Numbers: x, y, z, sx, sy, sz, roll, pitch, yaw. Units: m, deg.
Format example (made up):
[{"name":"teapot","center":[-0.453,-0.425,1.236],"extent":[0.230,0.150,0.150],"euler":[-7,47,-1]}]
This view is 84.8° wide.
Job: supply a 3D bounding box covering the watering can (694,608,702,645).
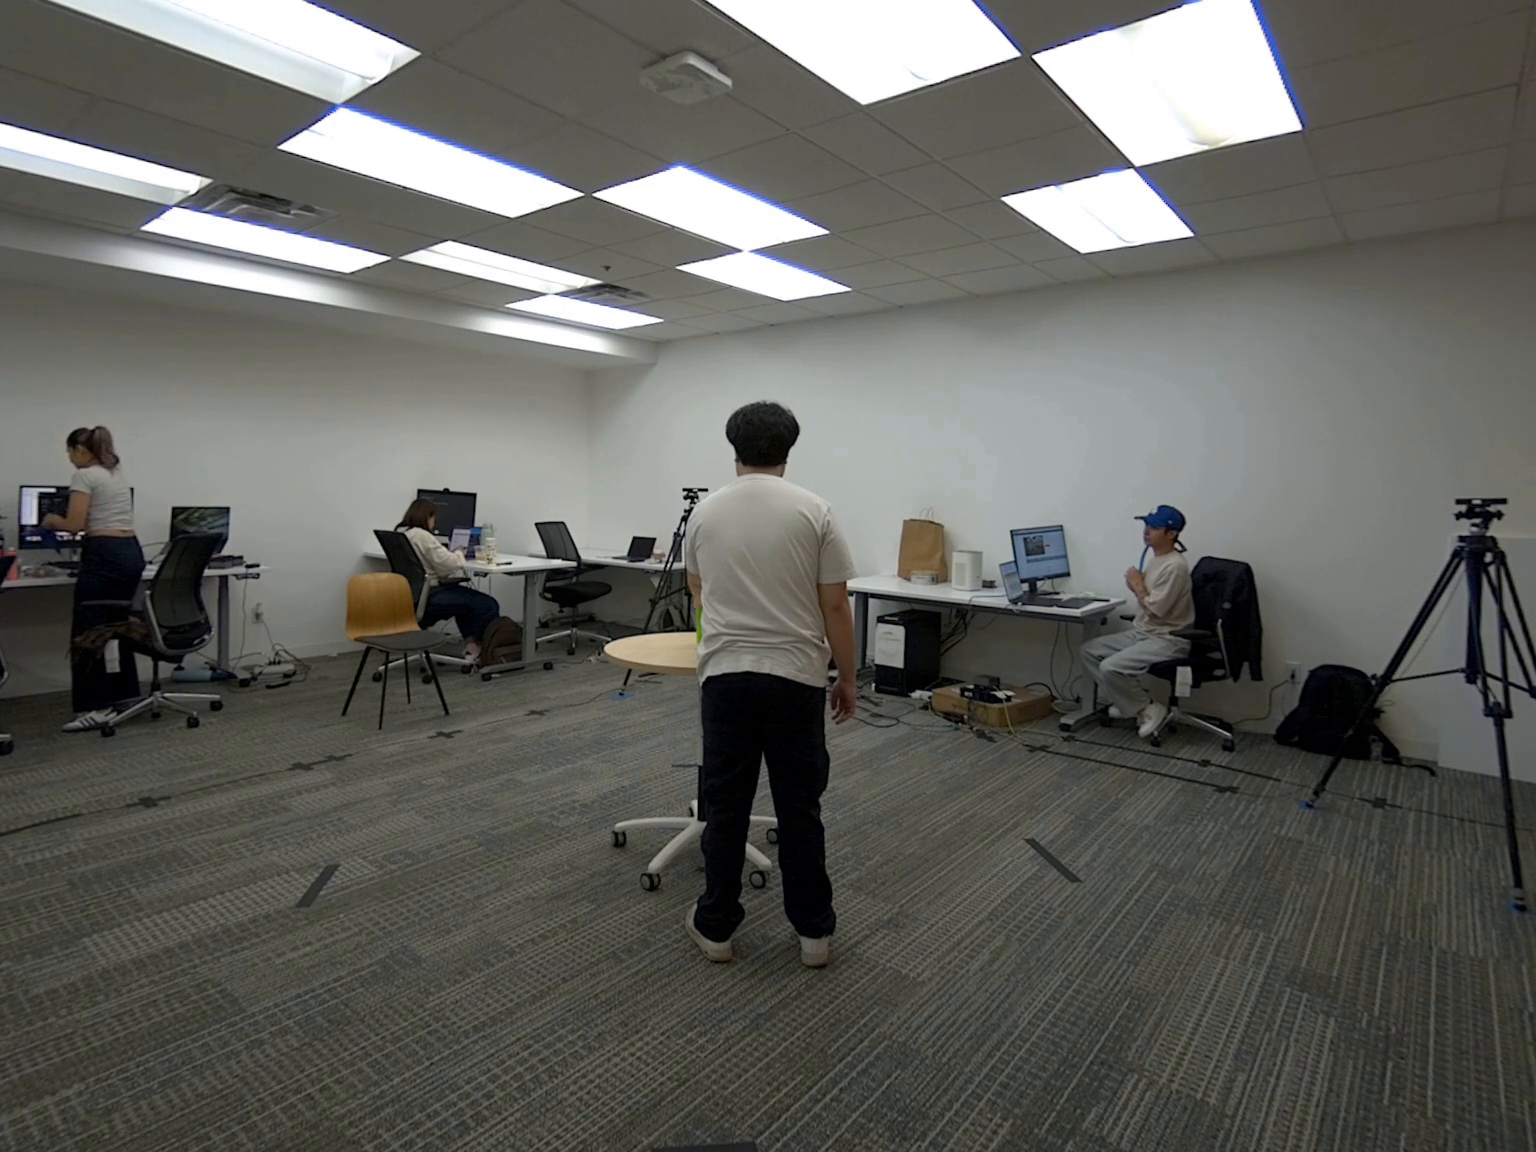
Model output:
[{"name":"watering can","center":[-0.199,0.159,3.226],"extent":[0.101,0.176,0.270],"euler":[1,6,38]}]
